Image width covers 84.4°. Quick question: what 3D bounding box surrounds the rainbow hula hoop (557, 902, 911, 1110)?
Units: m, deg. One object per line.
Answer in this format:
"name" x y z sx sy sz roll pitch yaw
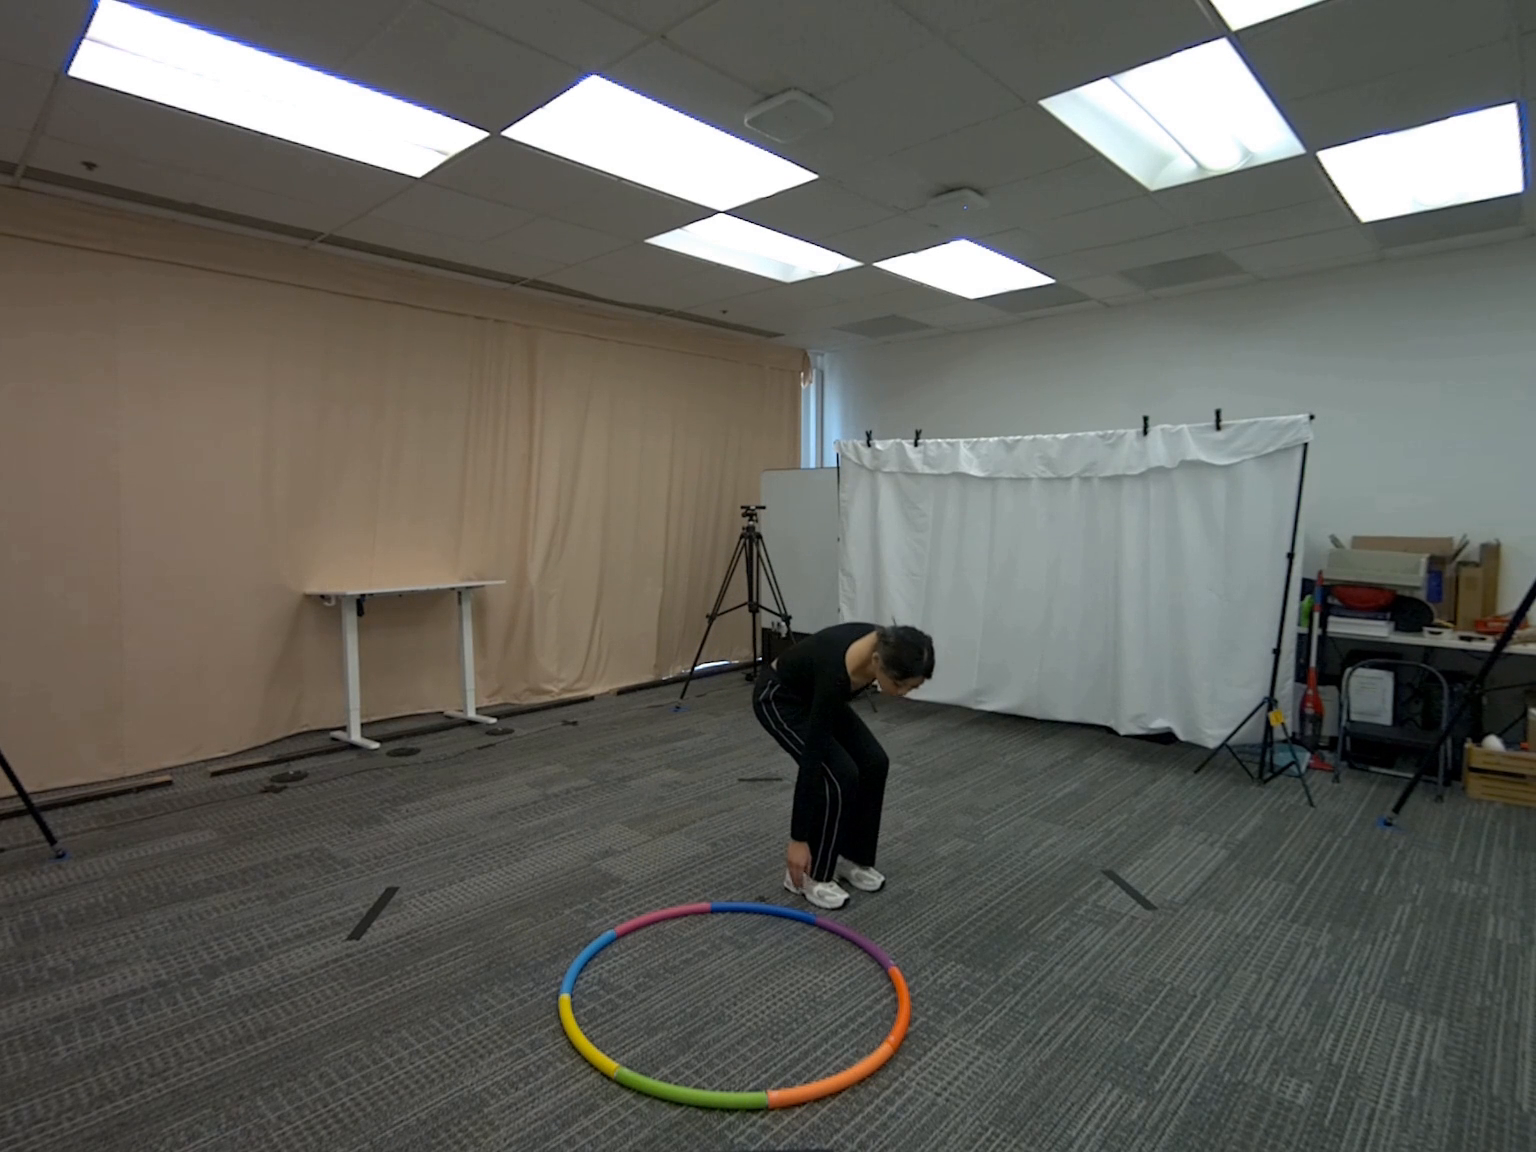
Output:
"rainbow hula hoop" -0.100 1.160 2.421 0.978 0.035 0.982 0 4 -2
